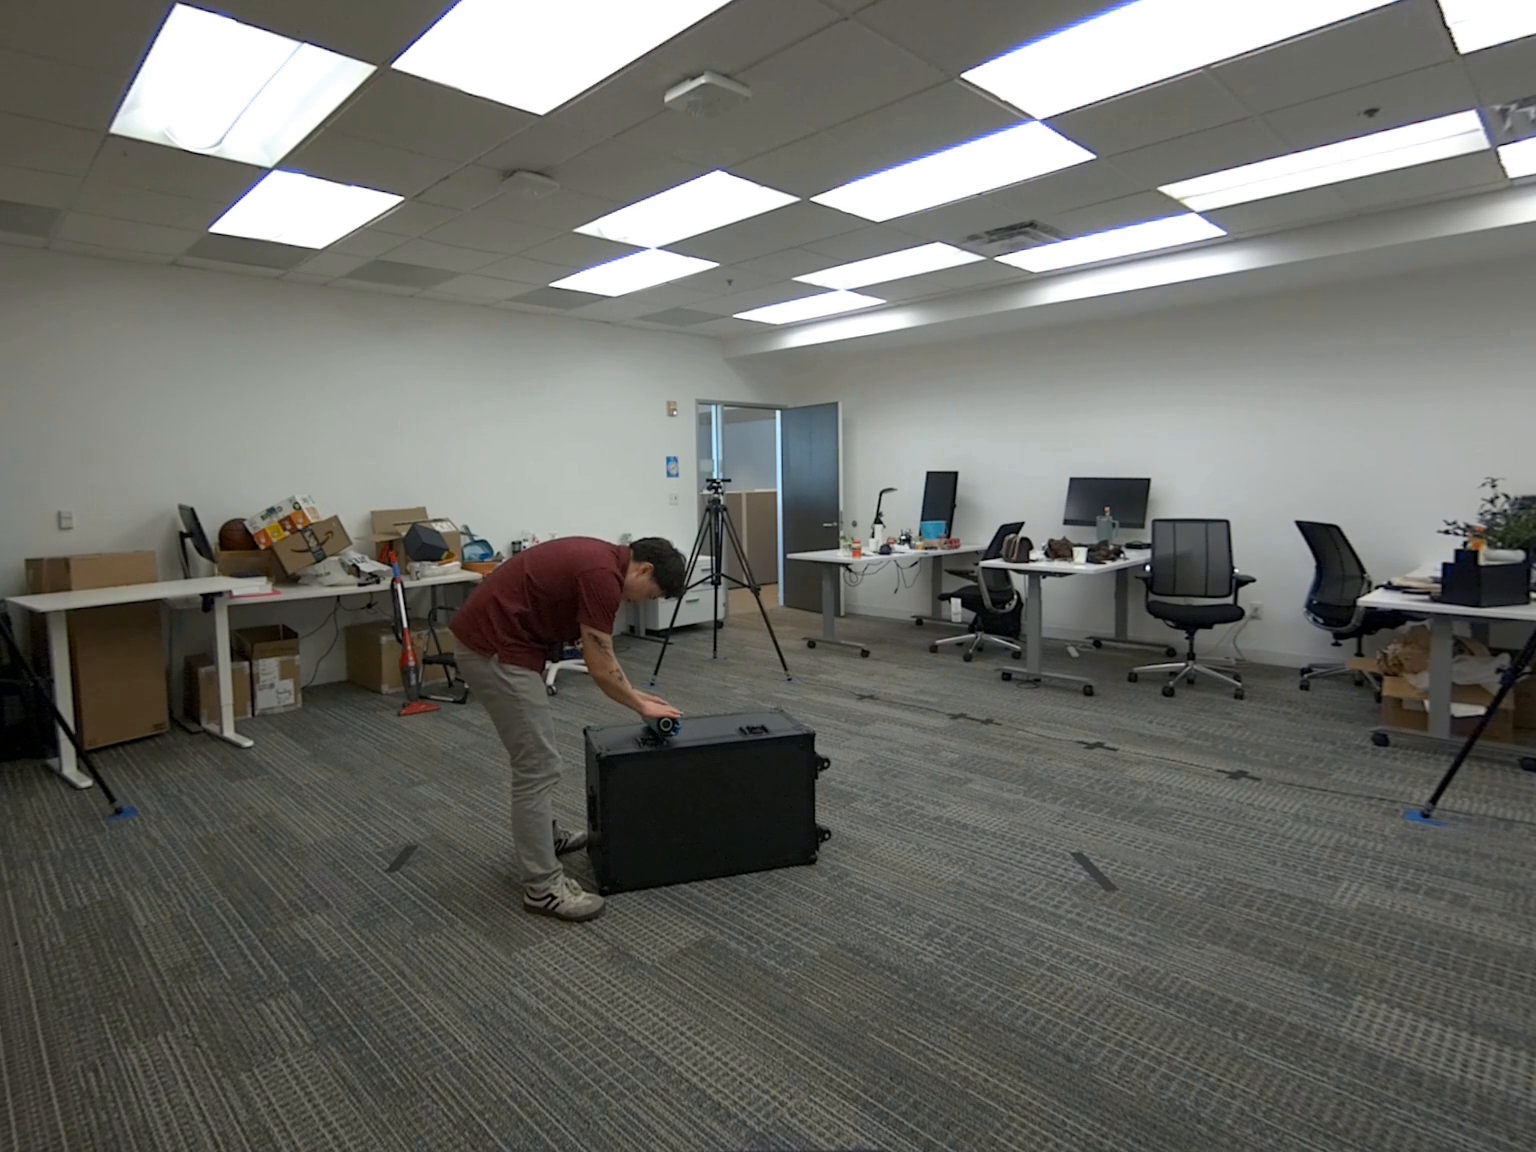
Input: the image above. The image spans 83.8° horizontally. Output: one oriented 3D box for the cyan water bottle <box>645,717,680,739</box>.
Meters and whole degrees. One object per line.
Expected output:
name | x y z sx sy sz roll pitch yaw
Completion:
cyan water bottle | -0.389 0.514 3.076 0.091 0.092 0.289 -3 5 -19
